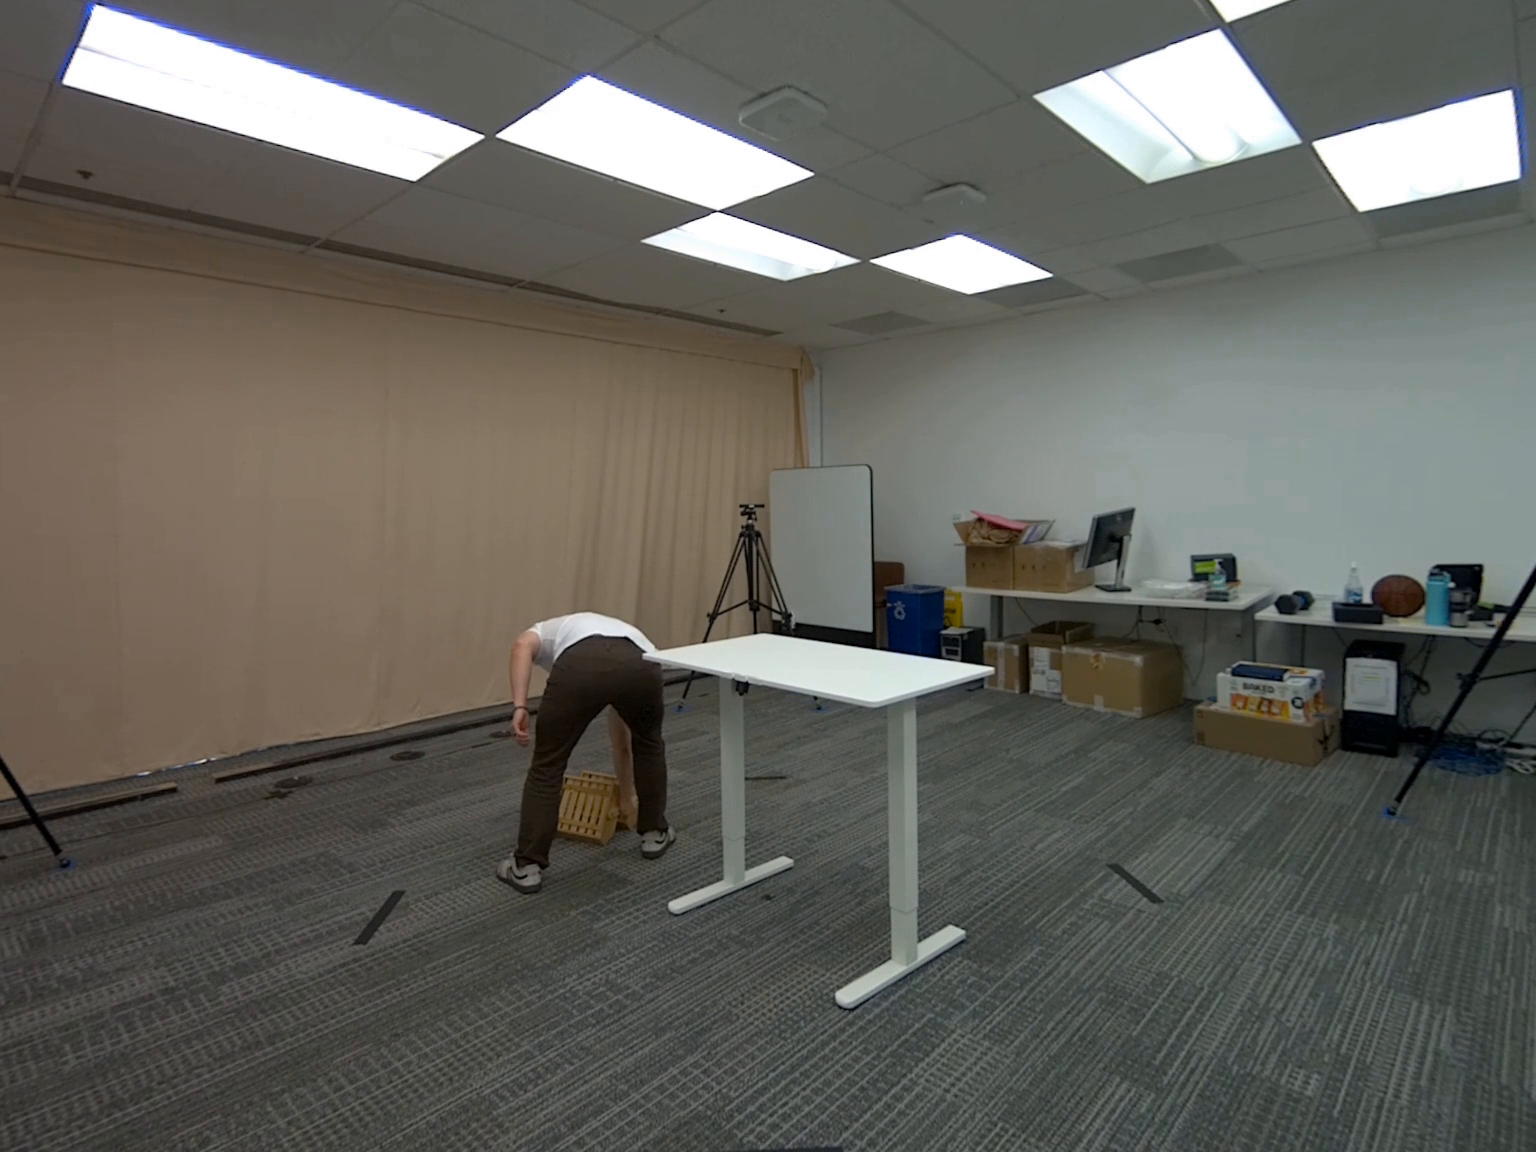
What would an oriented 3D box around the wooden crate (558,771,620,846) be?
[{"bbox_3d":[-0.743,1.012,3.675,0.333,0.304,0.264,0,-24,28],"label":"wooden crate"}]
